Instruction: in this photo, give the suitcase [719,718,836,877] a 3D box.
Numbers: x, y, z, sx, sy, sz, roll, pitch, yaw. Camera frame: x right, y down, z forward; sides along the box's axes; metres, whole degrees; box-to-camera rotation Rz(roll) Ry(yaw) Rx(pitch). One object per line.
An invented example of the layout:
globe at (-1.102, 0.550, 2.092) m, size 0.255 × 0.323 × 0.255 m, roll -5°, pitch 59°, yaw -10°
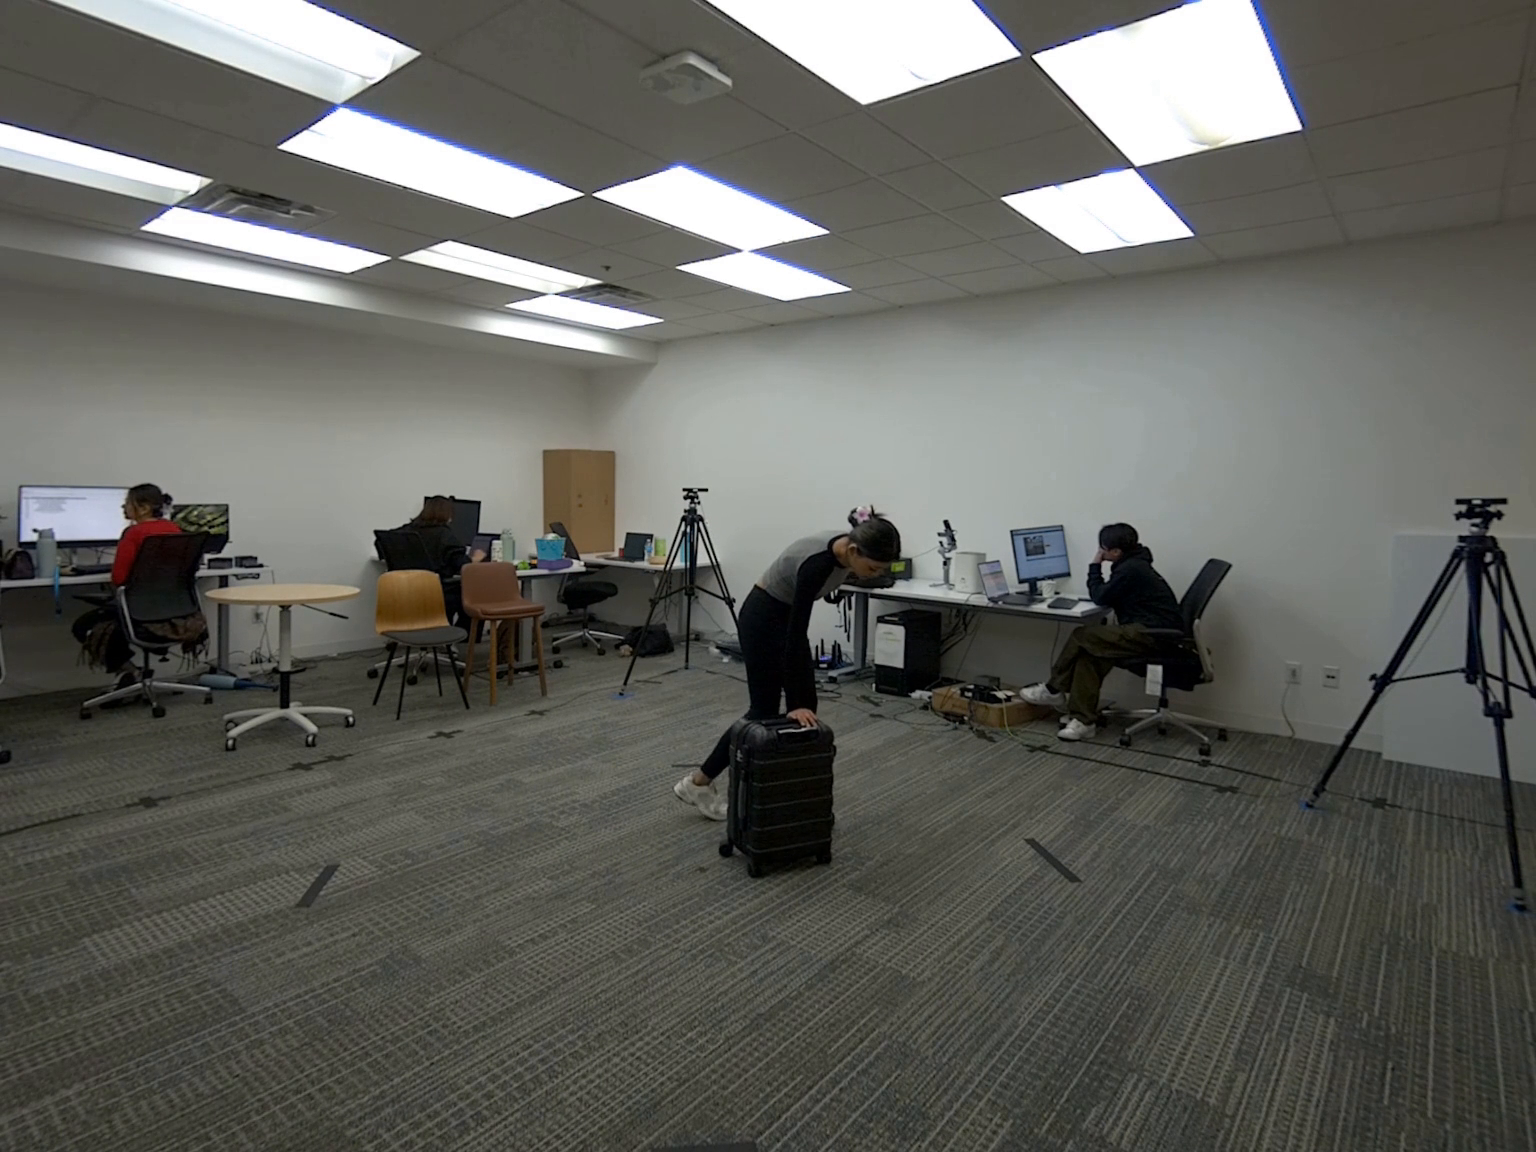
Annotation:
suitcase at (0.036, 0.790, 3.183) m, size 0.366 × 0.548 × 0.255 m, roll 0°, pitch 4°, yaw -26°
